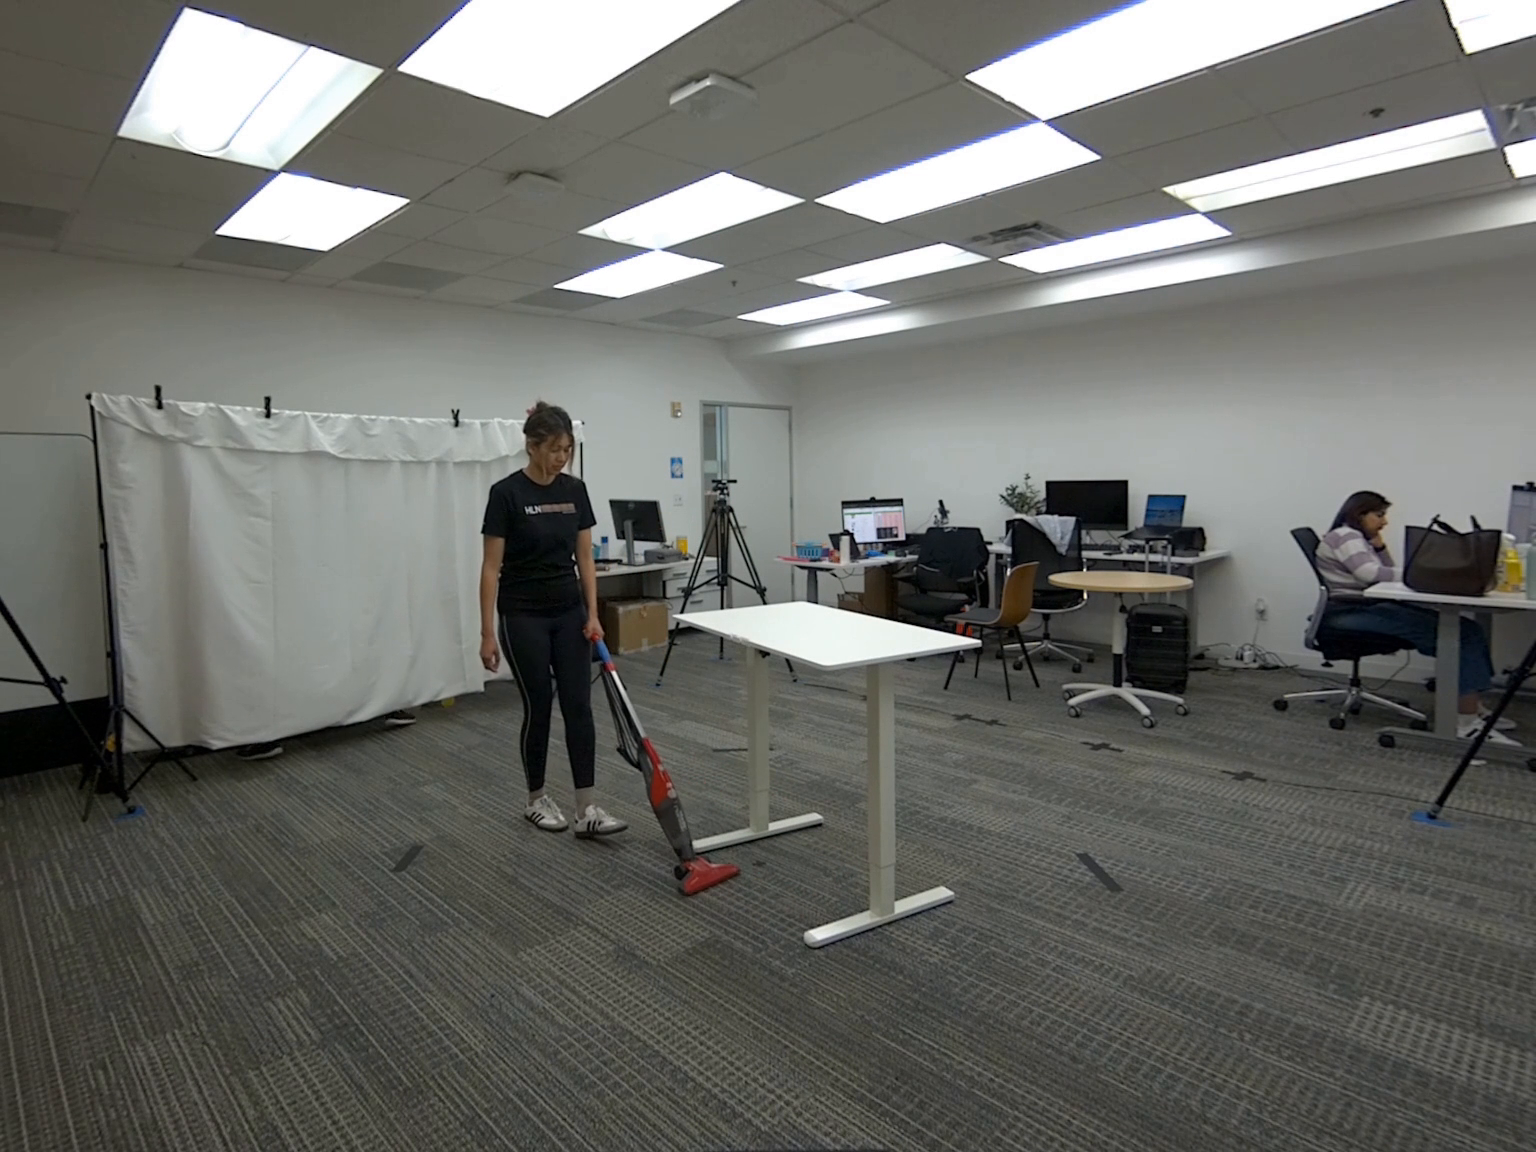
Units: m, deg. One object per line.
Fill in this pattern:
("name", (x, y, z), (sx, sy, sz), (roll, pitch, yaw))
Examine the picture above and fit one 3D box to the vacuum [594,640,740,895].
("vacuum", (-0.464, 0.652, 3.212), (0.245, 1.082, 0.144), (2, -42, -48))
